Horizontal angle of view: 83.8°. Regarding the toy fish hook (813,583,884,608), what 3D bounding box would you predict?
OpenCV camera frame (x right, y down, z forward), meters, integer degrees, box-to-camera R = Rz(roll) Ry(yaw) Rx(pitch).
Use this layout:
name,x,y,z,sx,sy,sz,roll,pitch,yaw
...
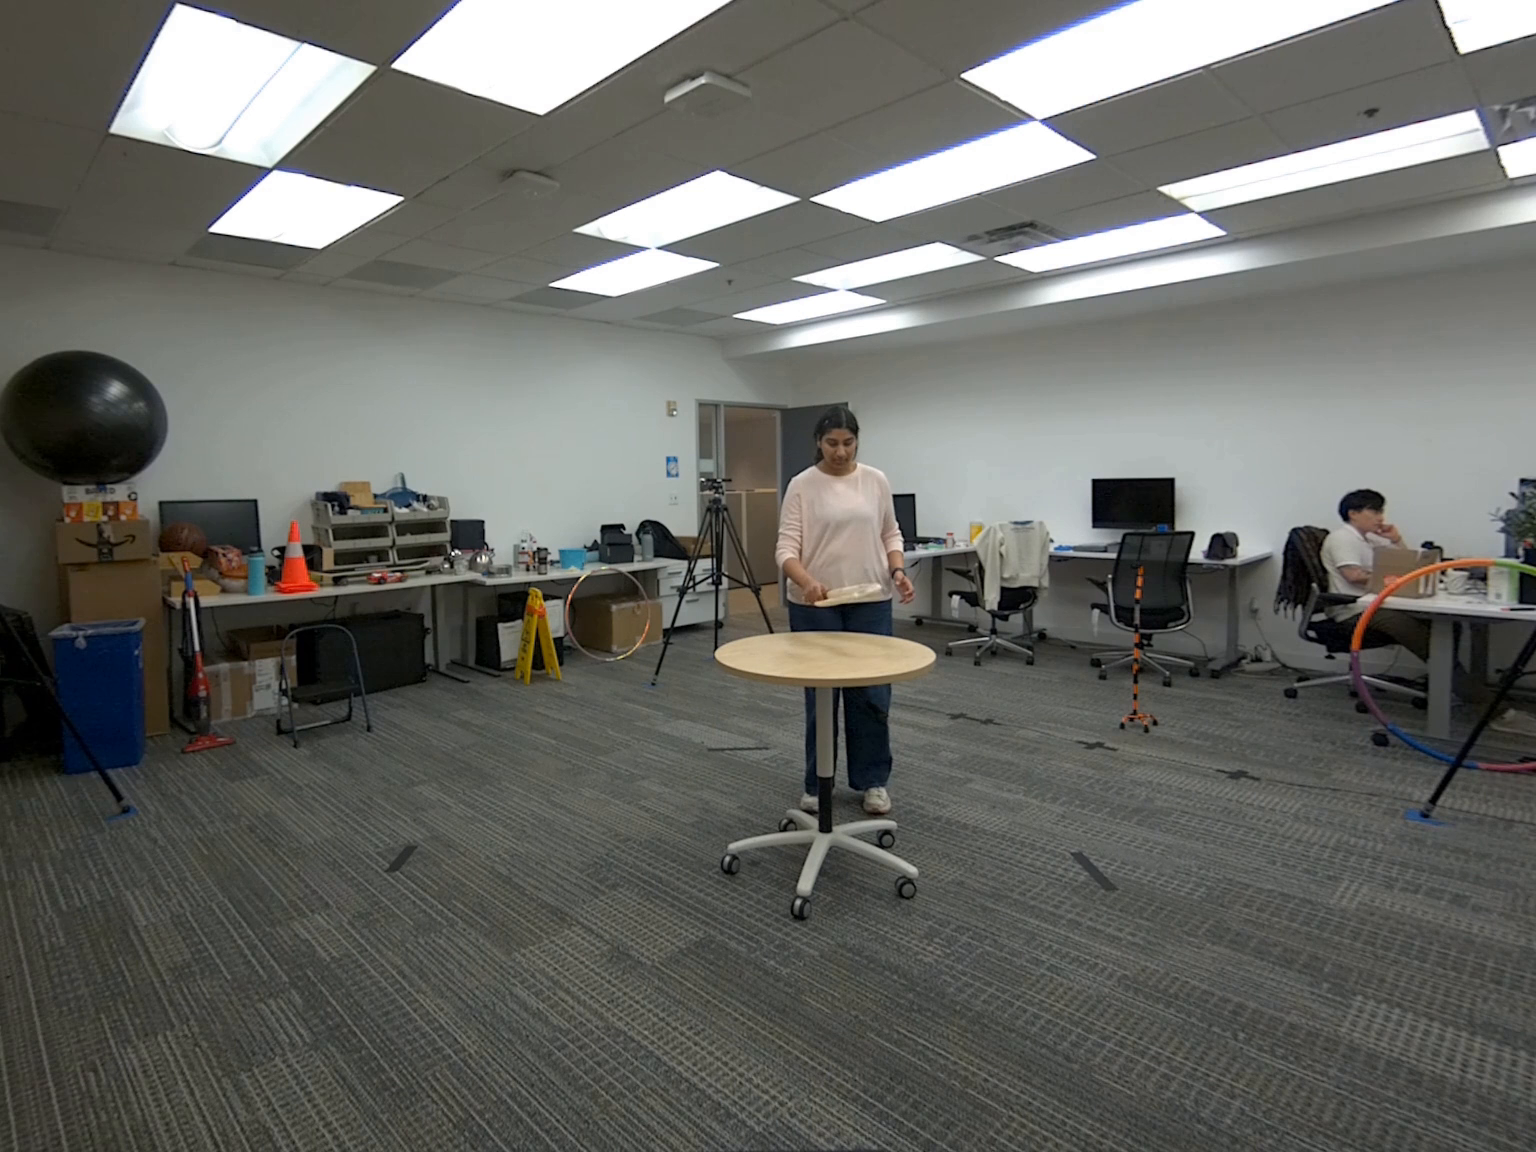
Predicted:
name,x,y,z,sx,sy,sz,roll,pitch,yaw
toy fish hook,0.224,0.081,3.097,0.221,0.048,0.513,-13,-1,-21
